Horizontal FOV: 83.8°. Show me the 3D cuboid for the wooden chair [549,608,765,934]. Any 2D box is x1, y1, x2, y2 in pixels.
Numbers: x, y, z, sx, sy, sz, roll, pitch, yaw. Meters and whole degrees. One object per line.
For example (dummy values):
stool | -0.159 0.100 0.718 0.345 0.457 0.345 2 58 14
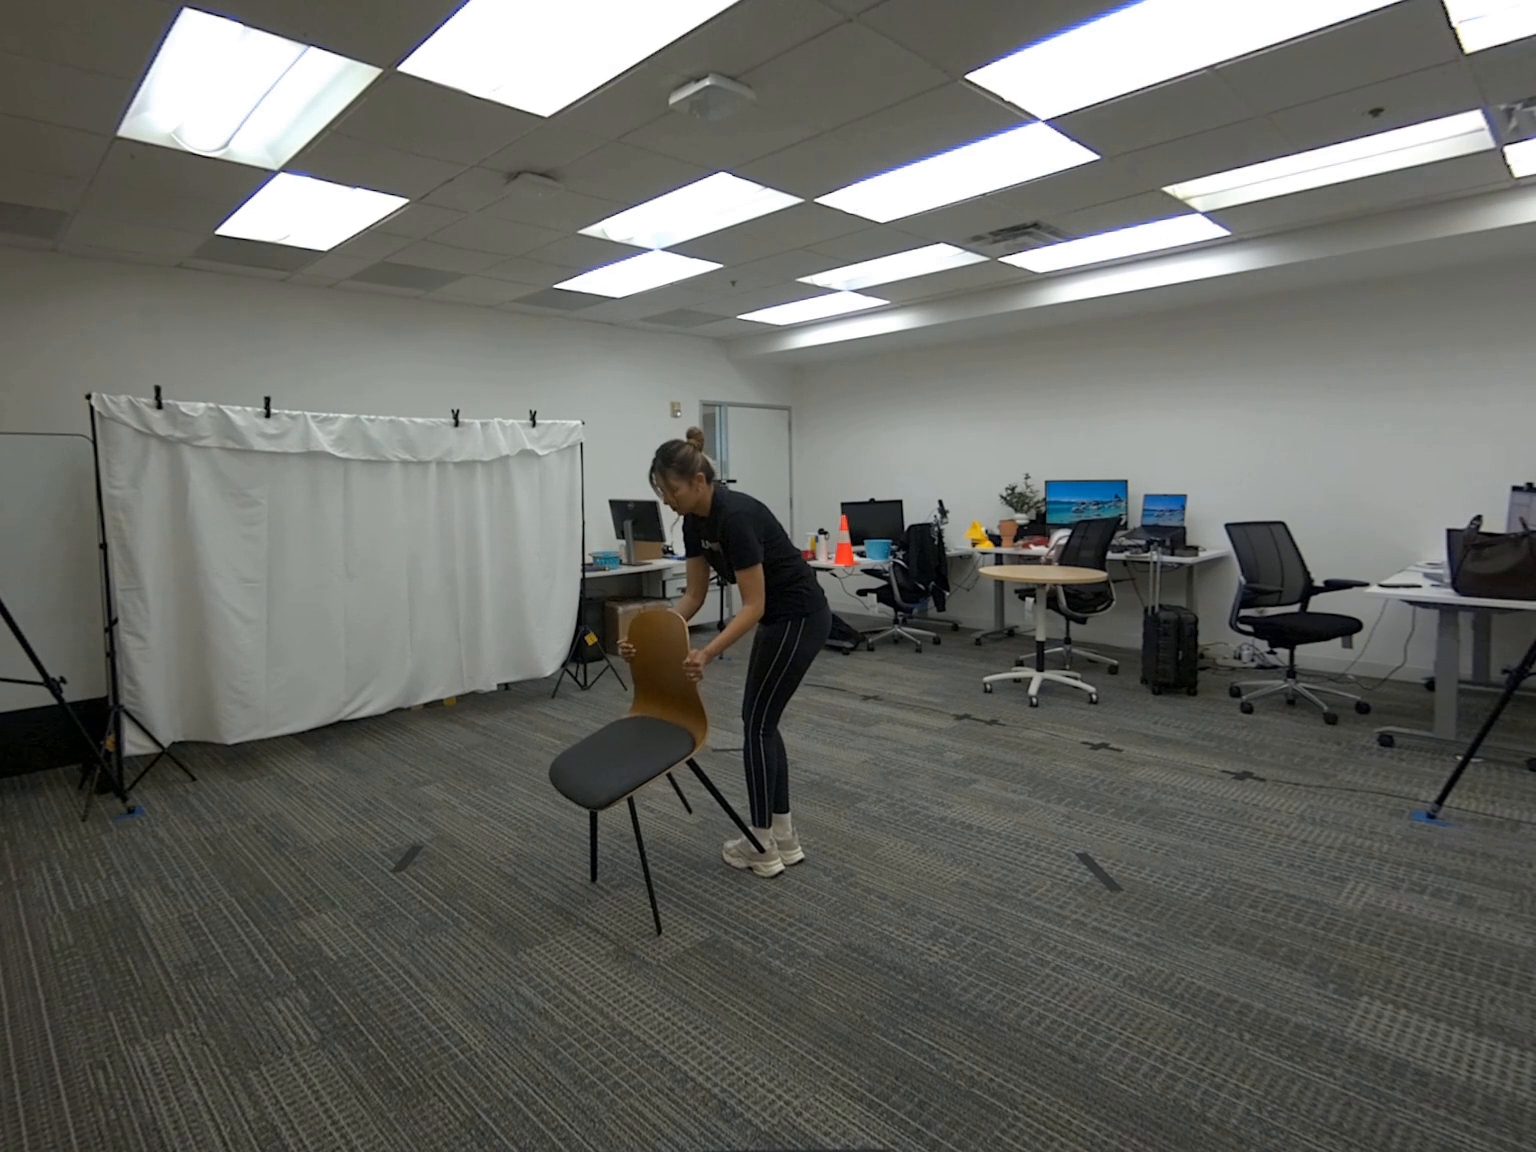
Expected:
wooden chair | -0.429 0.613 2.819 0.515 0.866 0.492 -21 15 -34
